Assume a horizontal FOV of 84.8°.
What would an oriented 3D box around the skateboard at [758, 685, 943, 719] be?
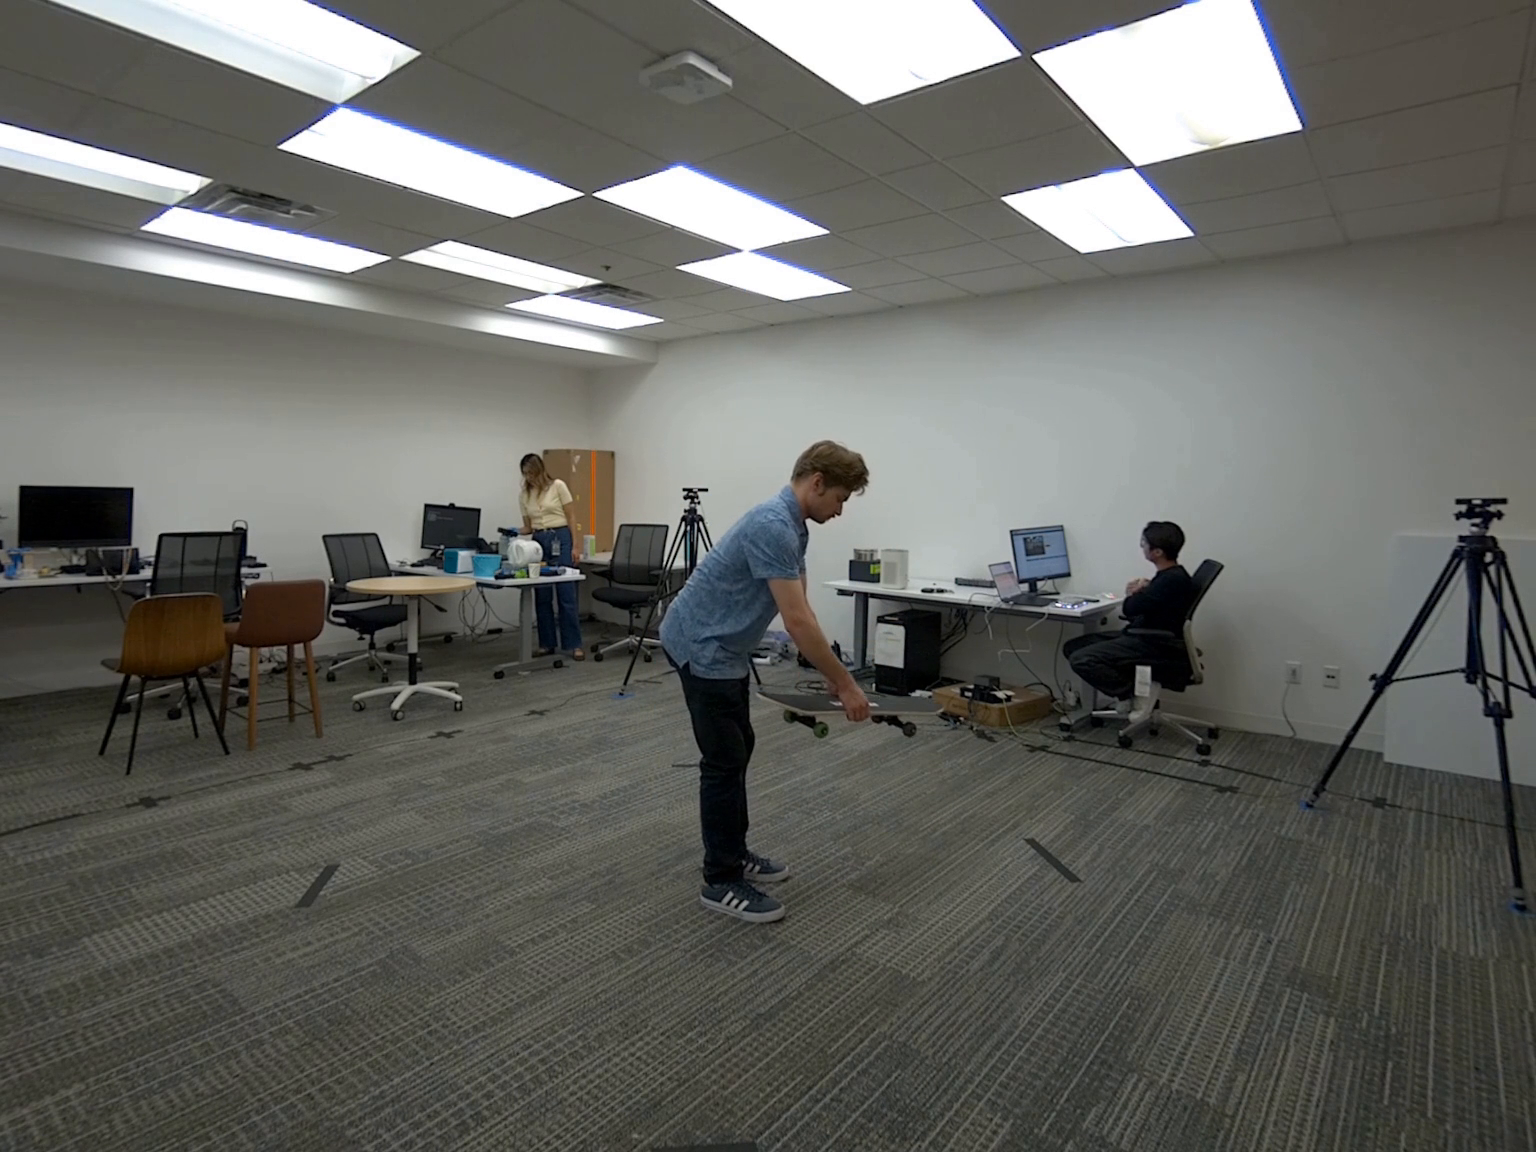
[{"bbox_3d":[0.283,0.471,2.842,0.760,0.110,0.200,7,4,-34],"label":"skateboard"}]
